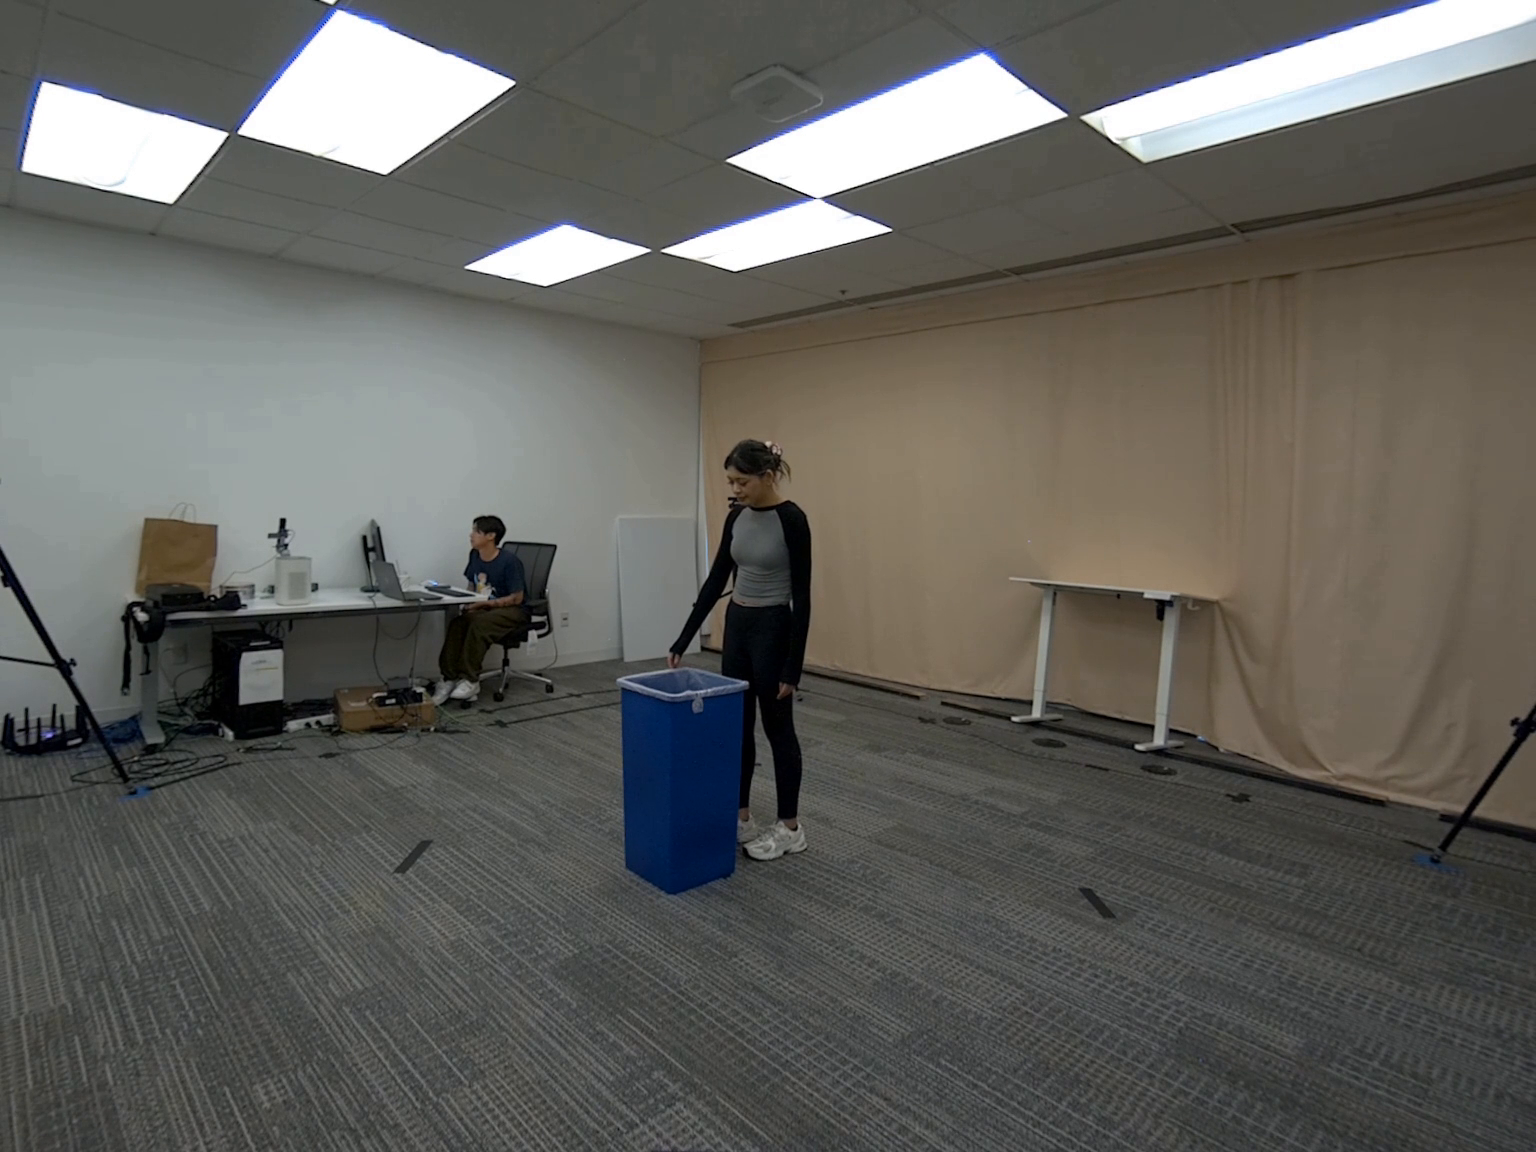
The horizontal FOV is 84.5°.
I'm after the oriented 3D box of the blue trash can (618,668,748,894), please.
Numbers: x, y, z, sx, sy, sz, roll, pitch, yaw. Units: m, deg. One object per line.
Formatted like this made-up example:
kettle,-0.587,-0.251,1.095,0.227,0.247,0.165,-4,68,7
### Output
blue trash can,-0.337,0.742,3.133,0.369,0.712,0.383,-1,4,-43
